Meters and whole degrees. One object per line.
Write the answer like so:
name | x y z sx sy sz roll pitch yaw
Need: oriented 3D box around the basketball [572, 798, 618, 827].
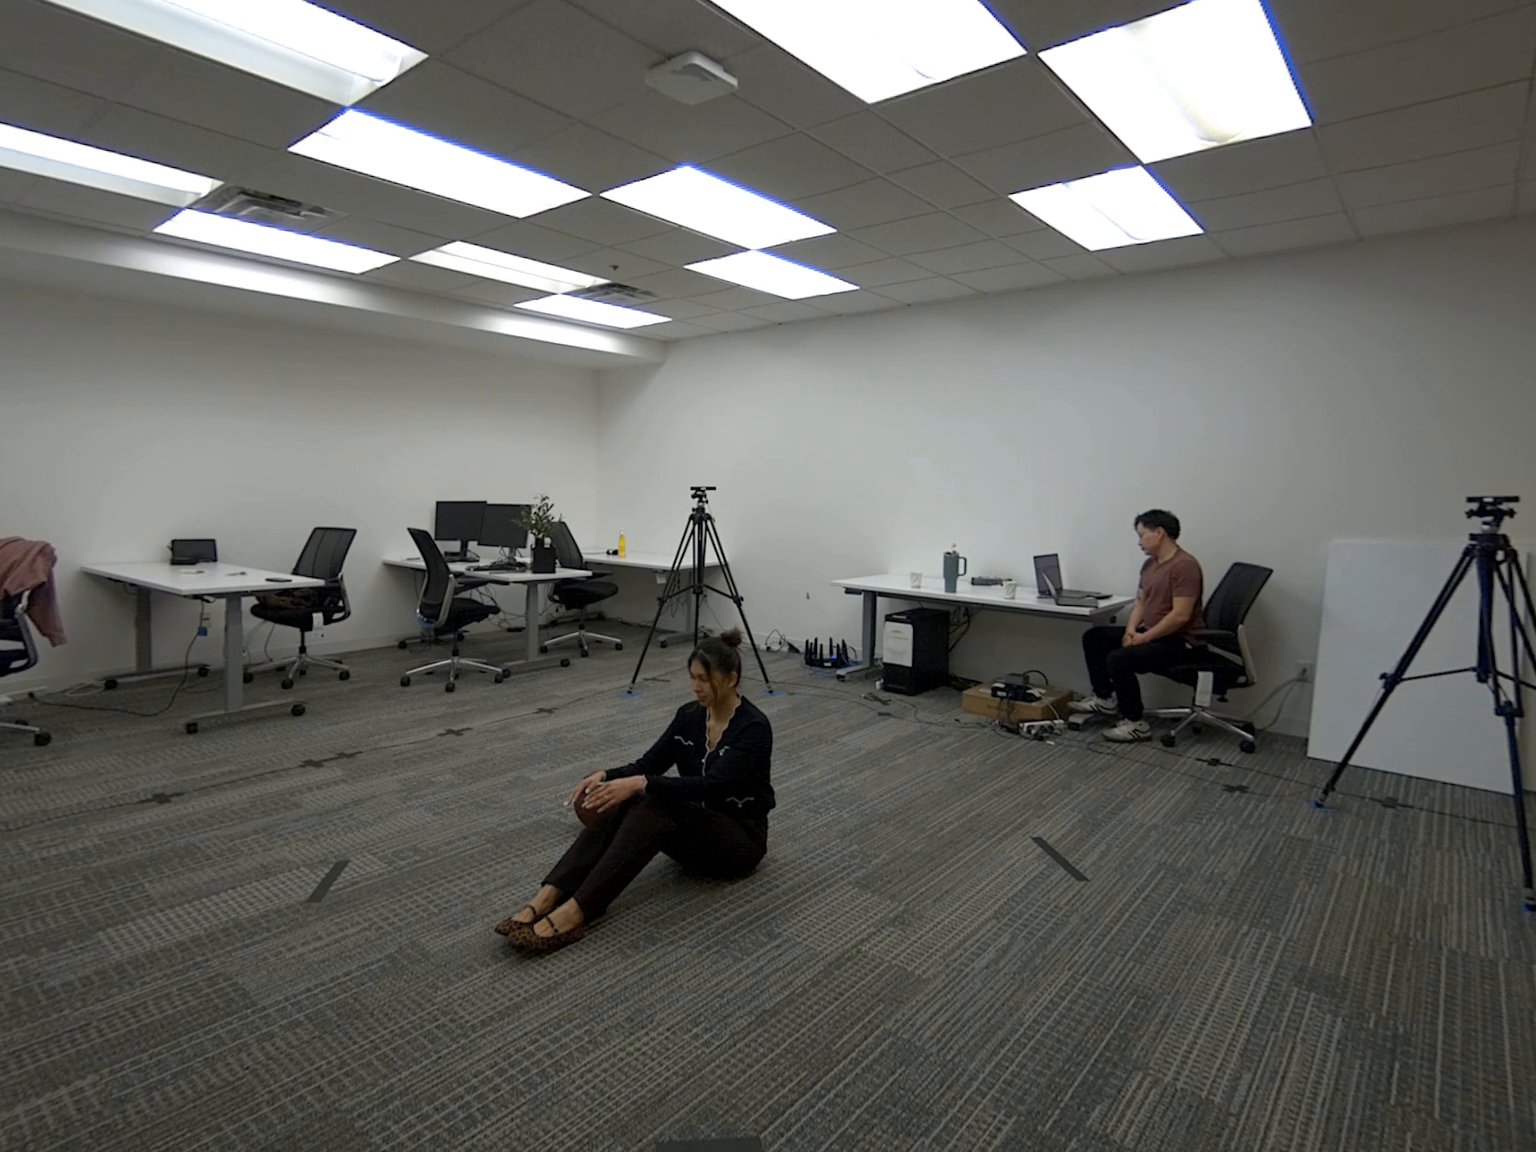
basketball | -0.680 0.899 3.448 0.235 0.235 0.237 1 4 -2
